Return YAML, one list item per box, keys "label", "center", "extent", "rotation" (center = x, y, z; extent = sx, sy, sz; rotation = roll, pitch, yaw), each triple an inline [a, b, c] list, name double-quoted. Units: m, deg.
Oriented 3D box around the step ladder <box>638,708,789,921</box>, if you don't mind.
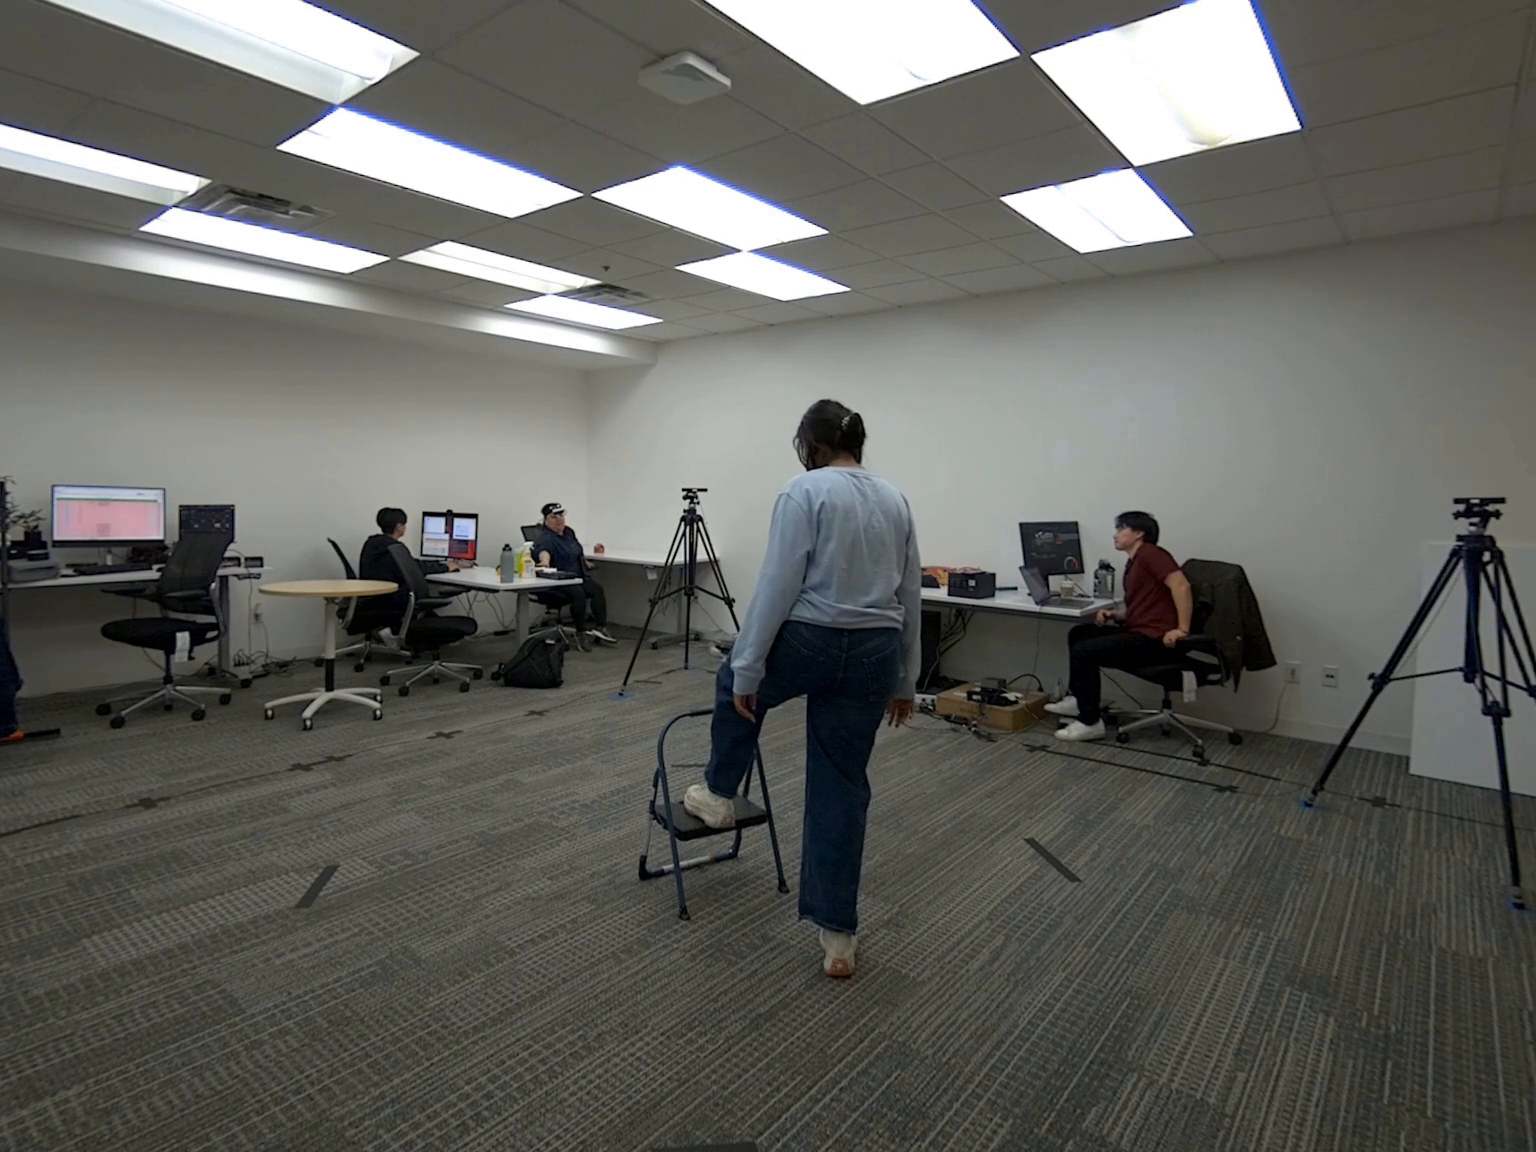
- label: "step ladder"
  center: [-0.200, 0.782, 2.975]
  extent: [0.418, 0.604, 0.360]
  rotation: [-1, 4, -34]
